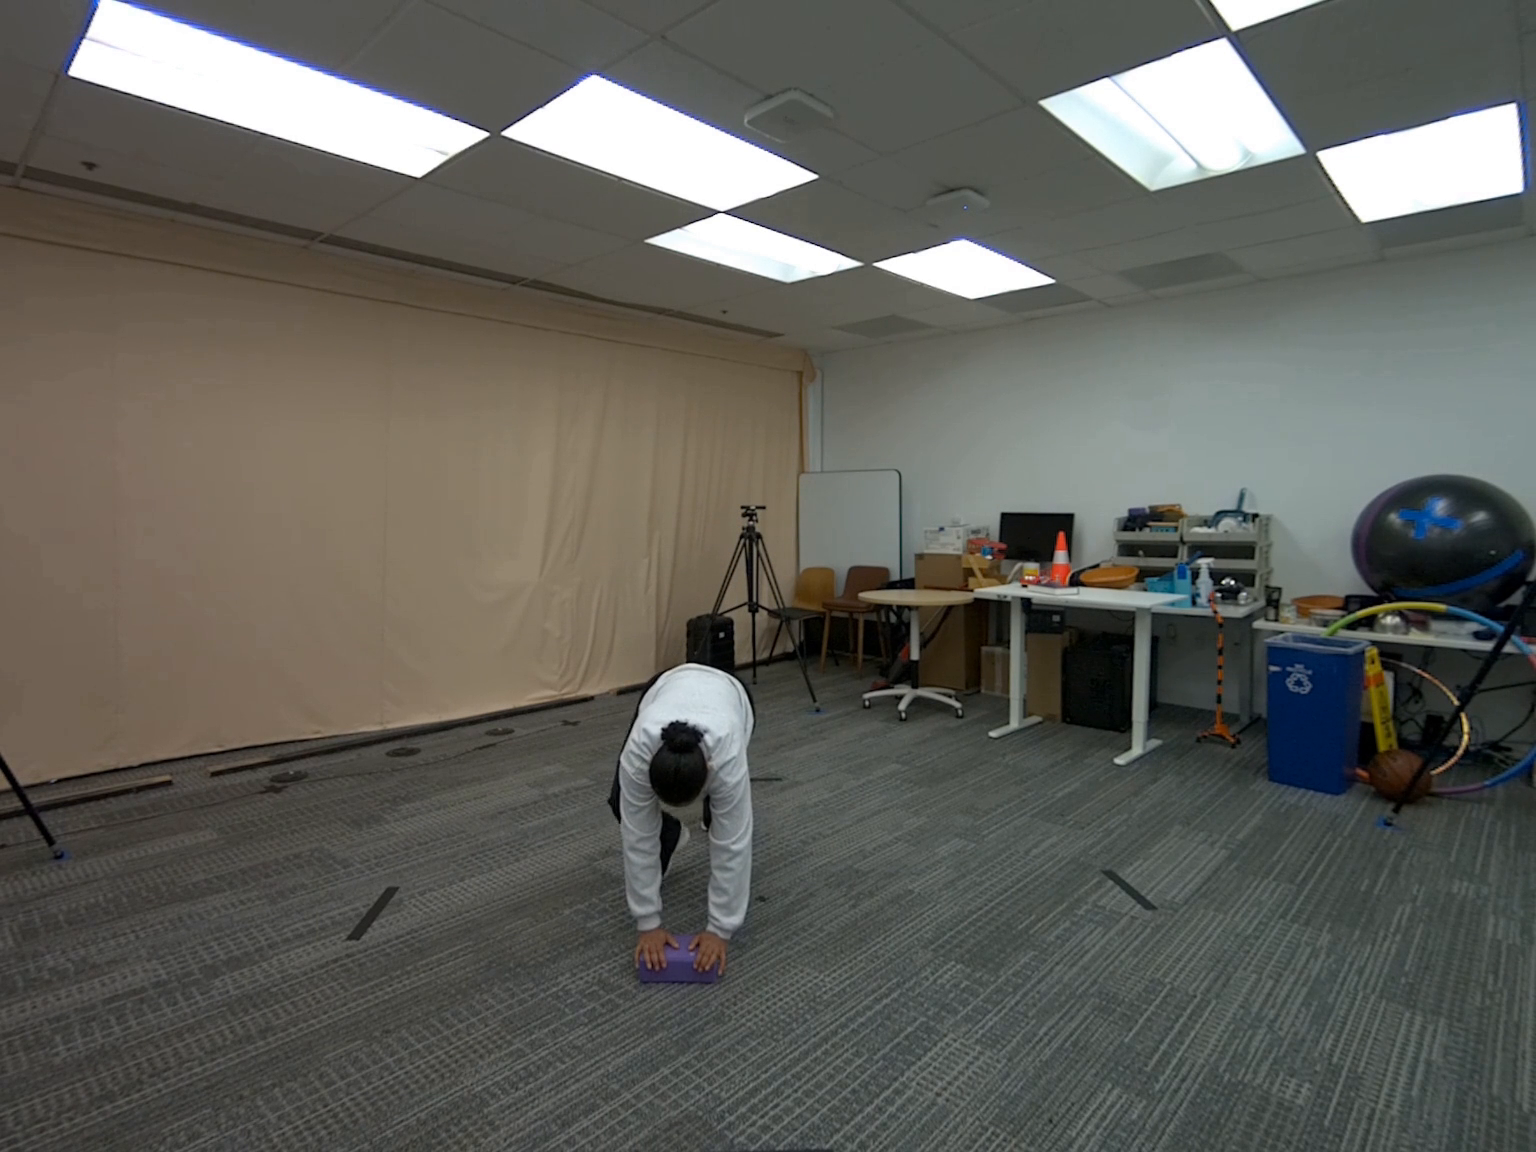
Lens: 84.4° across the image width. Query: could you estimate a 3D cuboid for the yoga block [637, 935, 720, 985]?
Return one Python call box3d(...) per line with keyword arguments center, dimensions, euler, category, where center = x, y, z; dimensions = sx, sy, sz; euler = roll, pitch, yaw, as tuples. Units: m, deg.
box3d(center=(-0.271, 1.143, 2.528), dimensions=(0.229, 0.076, 0.149), euler=(2, 5, -1), category="yoga block")
